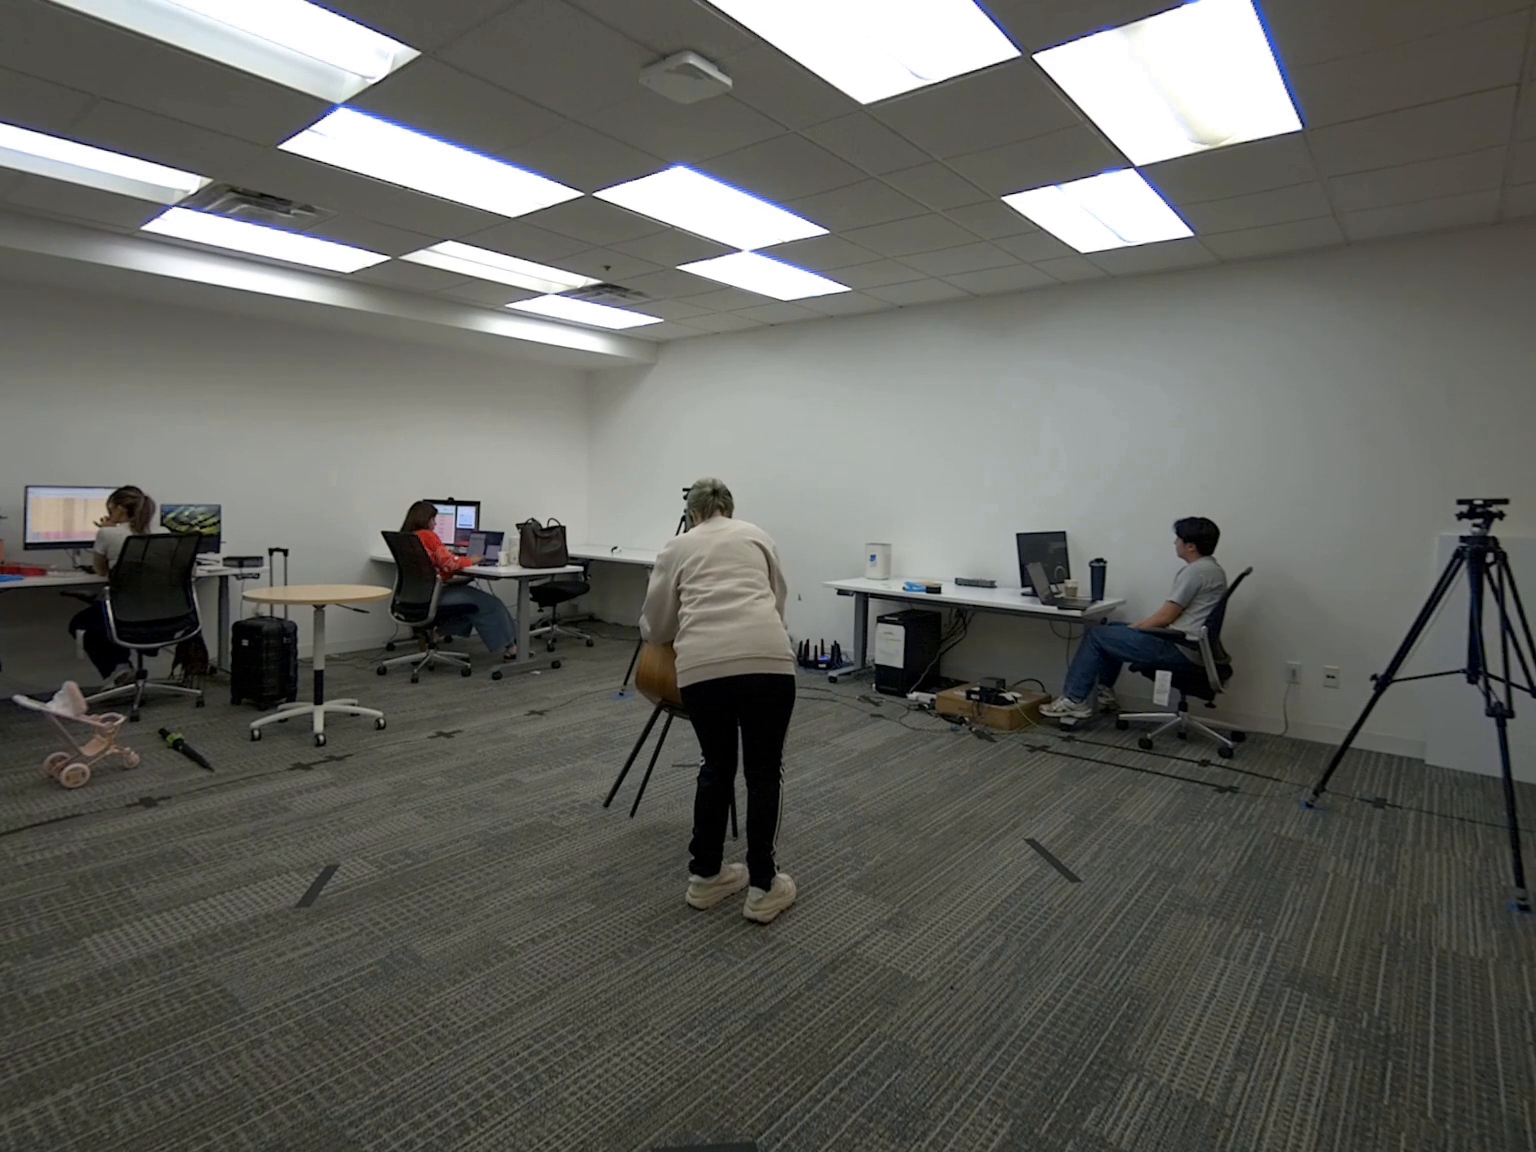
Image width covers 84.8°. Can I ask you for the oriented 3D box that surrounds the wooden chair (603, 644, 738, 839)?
[{"bbox_3d":[-0.302,0.542,3.381,0.484,0.889,0.510,6,-16,9],"label":"wooden chair"}]
